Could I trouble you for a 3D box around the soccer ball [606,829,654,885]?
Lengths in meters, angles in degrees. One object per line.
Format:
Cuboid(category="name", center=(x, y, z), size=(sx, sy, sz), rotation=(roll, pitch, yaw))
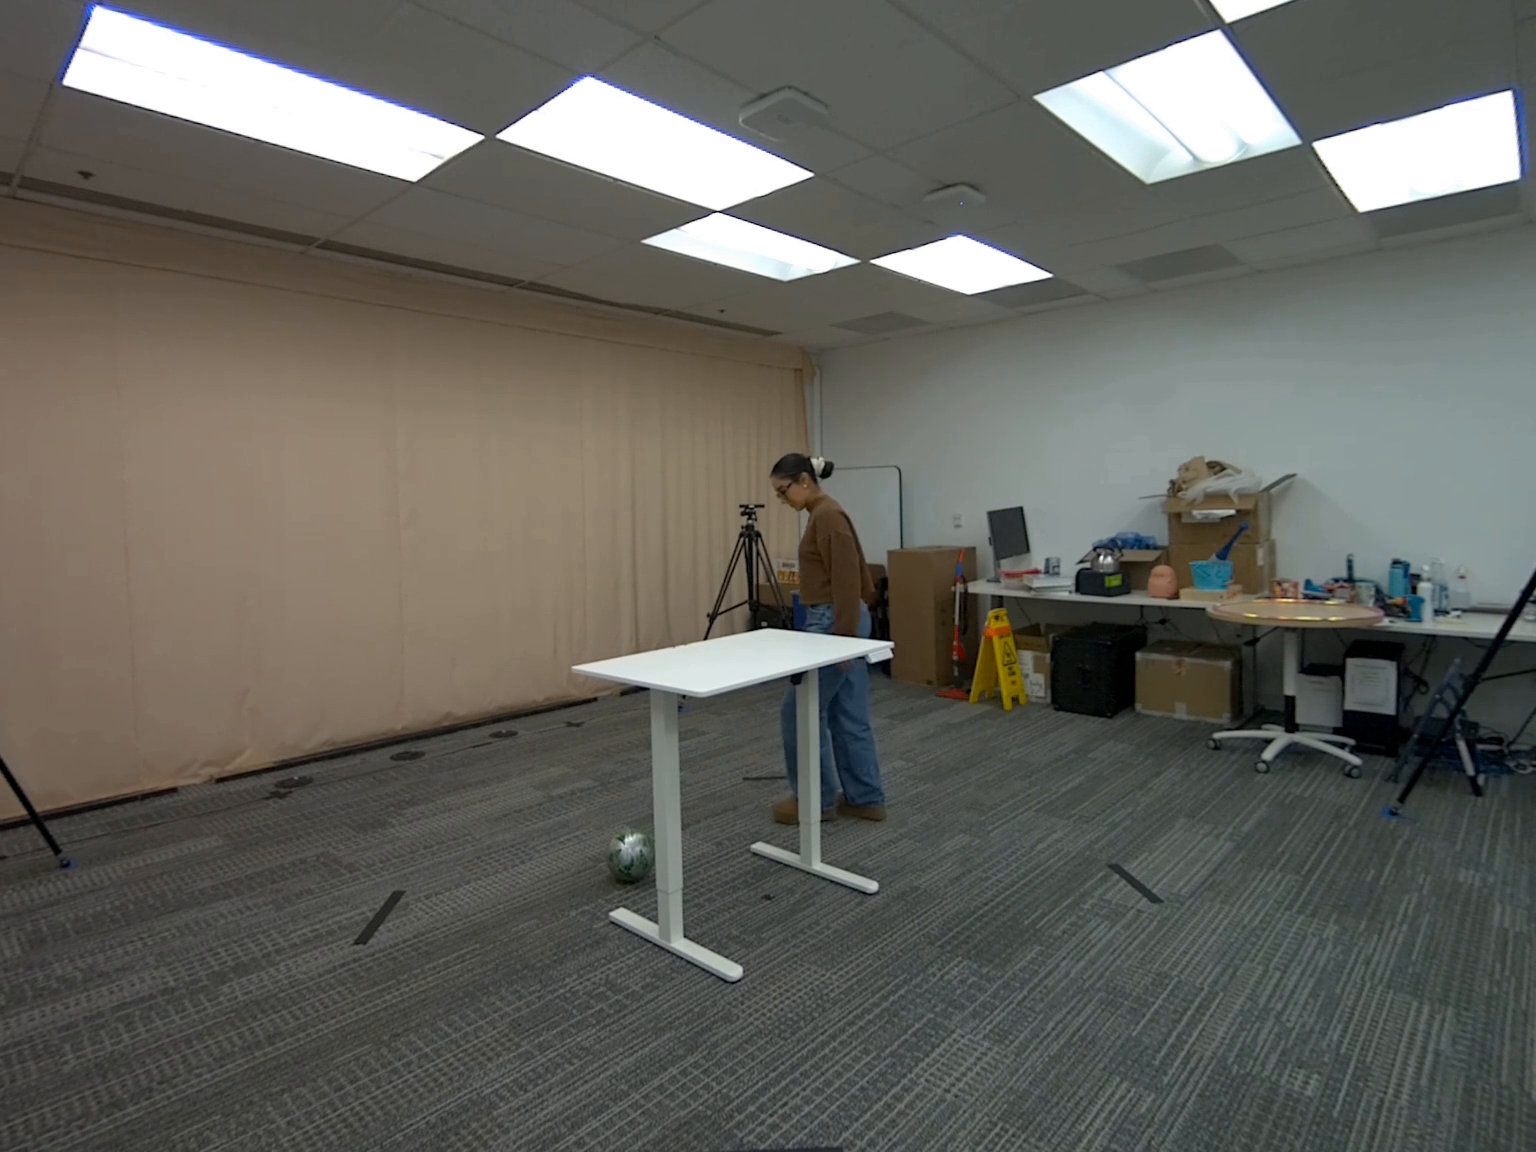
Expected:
Cuboid(category="soccer ball", center=(-0.513, 1.046, 3.151), size=(0.187, 0.187, 0.188), rotation=(-1, 4, -2))
